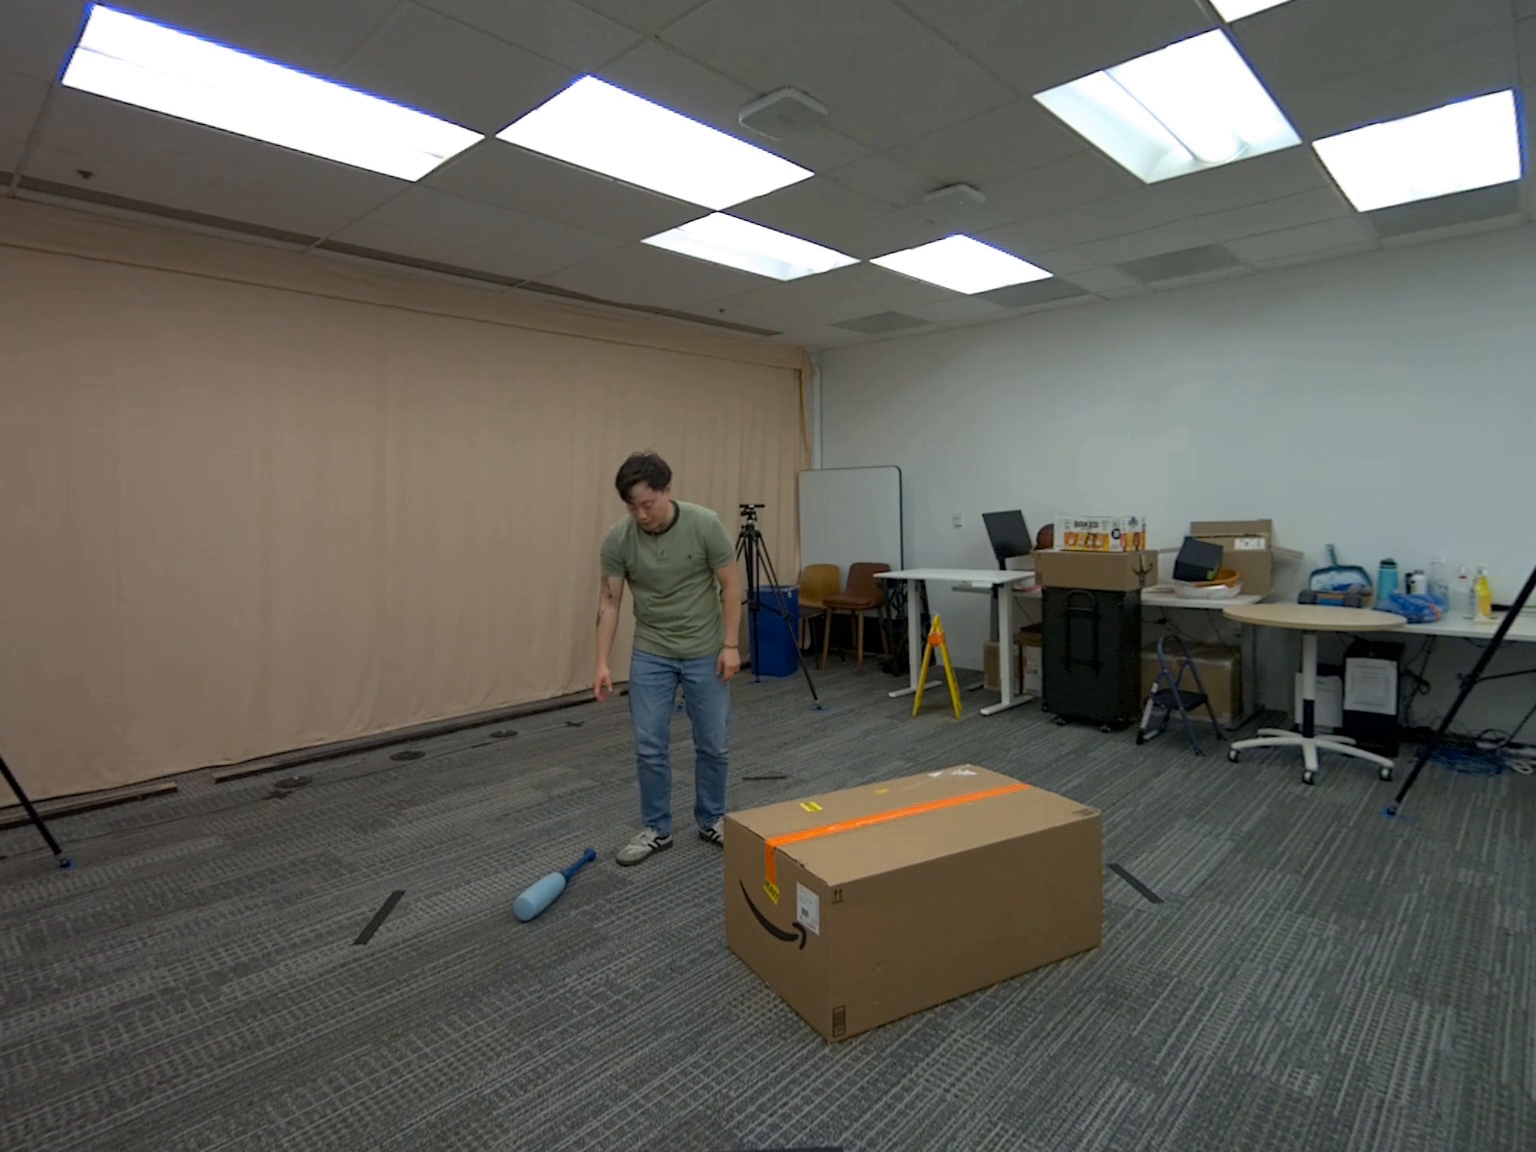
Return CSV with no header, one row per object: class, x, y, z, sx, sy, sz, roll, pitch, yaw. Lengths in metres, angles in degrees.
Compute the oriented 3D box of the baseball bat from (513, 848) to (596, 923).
baseball bat,-0.758,1.110,3.080,0.090,0.089,0.535,0,2,12
